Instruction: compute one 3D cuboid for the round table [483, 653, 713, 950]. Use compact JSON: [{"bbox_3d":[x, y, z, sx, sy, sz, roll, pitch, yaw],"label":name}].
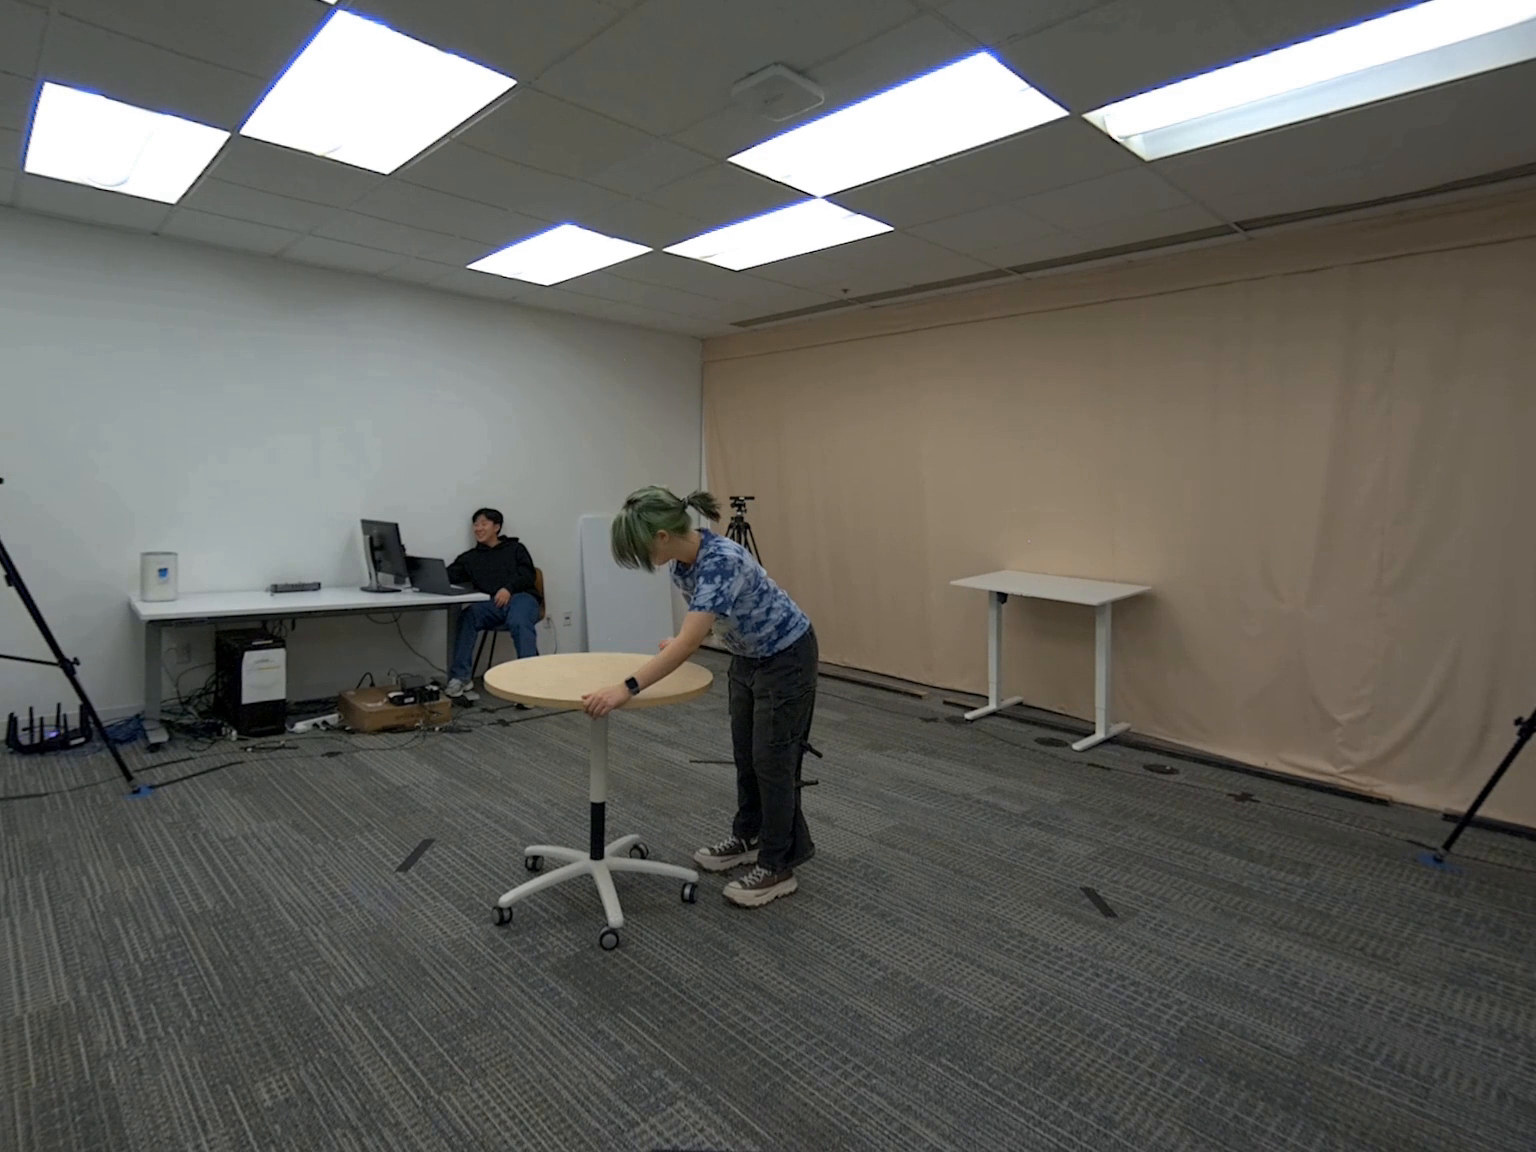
[{"bbox_3d":[-0.588,0.728,2.882,0.763,0.792,0.767,1,4,-1],"label":"round table"}]
